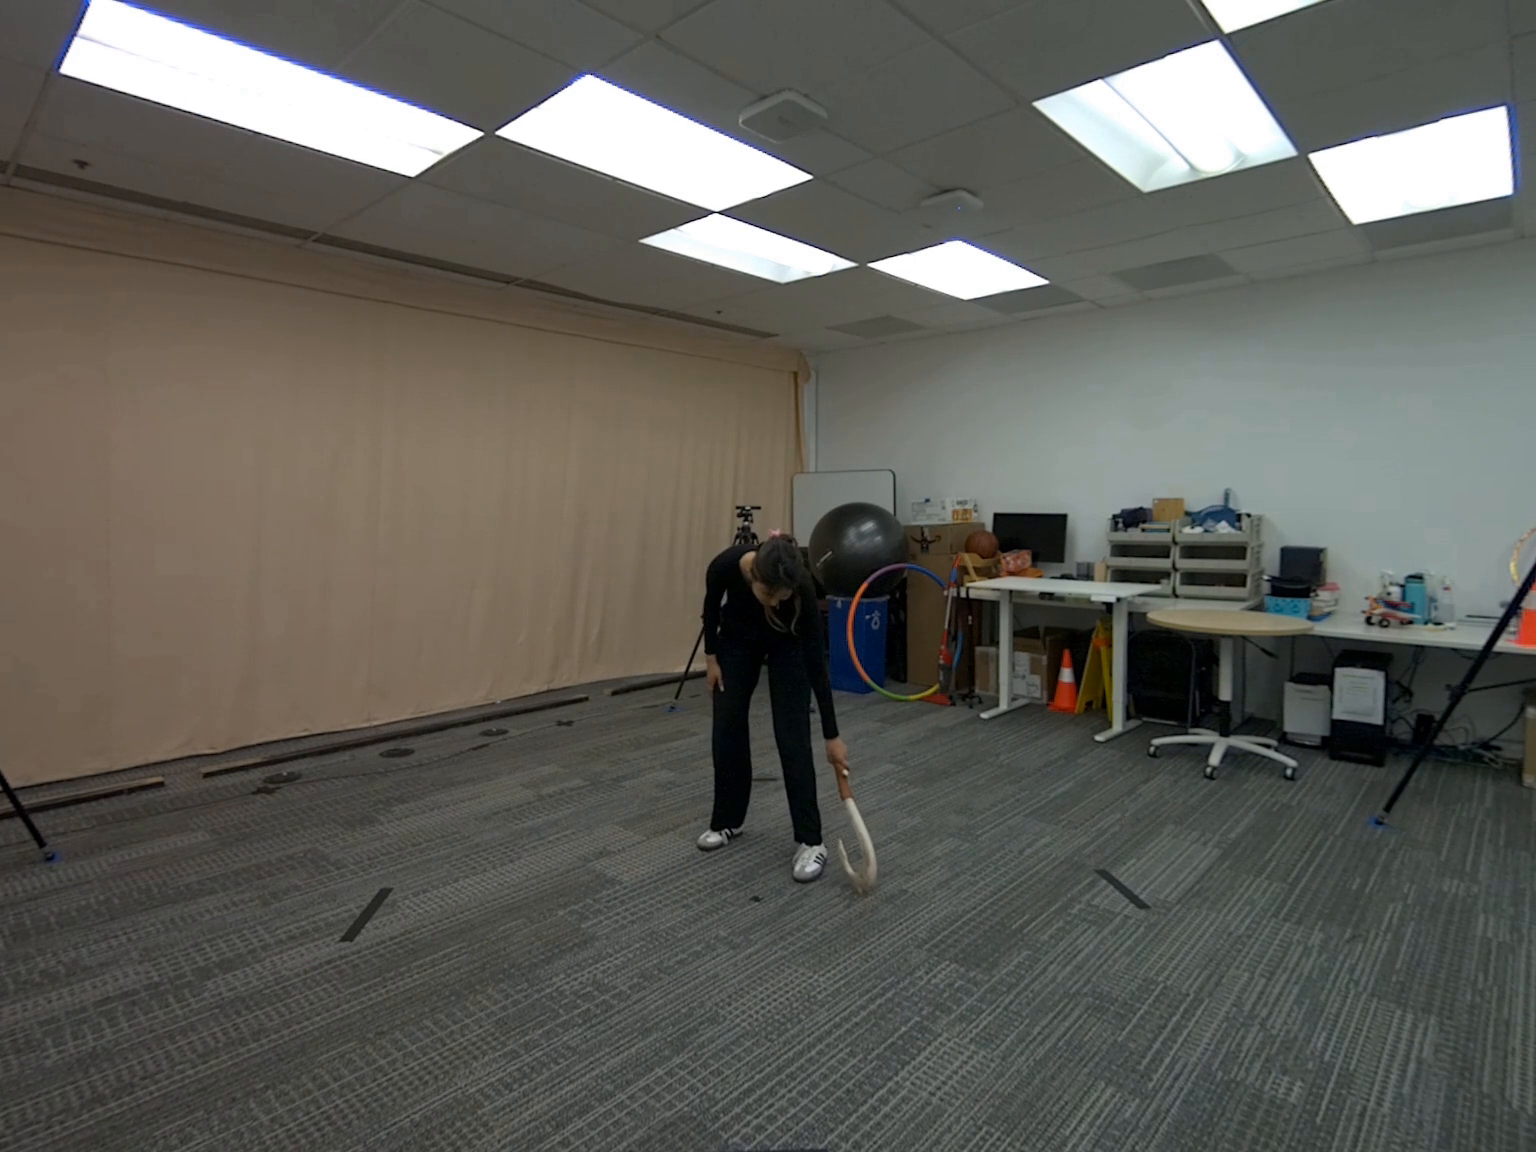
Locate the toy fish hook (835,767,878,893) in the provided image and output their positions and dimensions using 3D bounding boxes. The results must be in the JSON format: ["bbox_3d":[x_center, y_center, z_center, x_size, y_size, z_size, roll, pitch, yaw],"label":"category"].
[{"bbox_3d":[0.292,0.897,3.127,0.047,0.518,0.226,5,-35,-29],"label":"toy fish hook"}]
